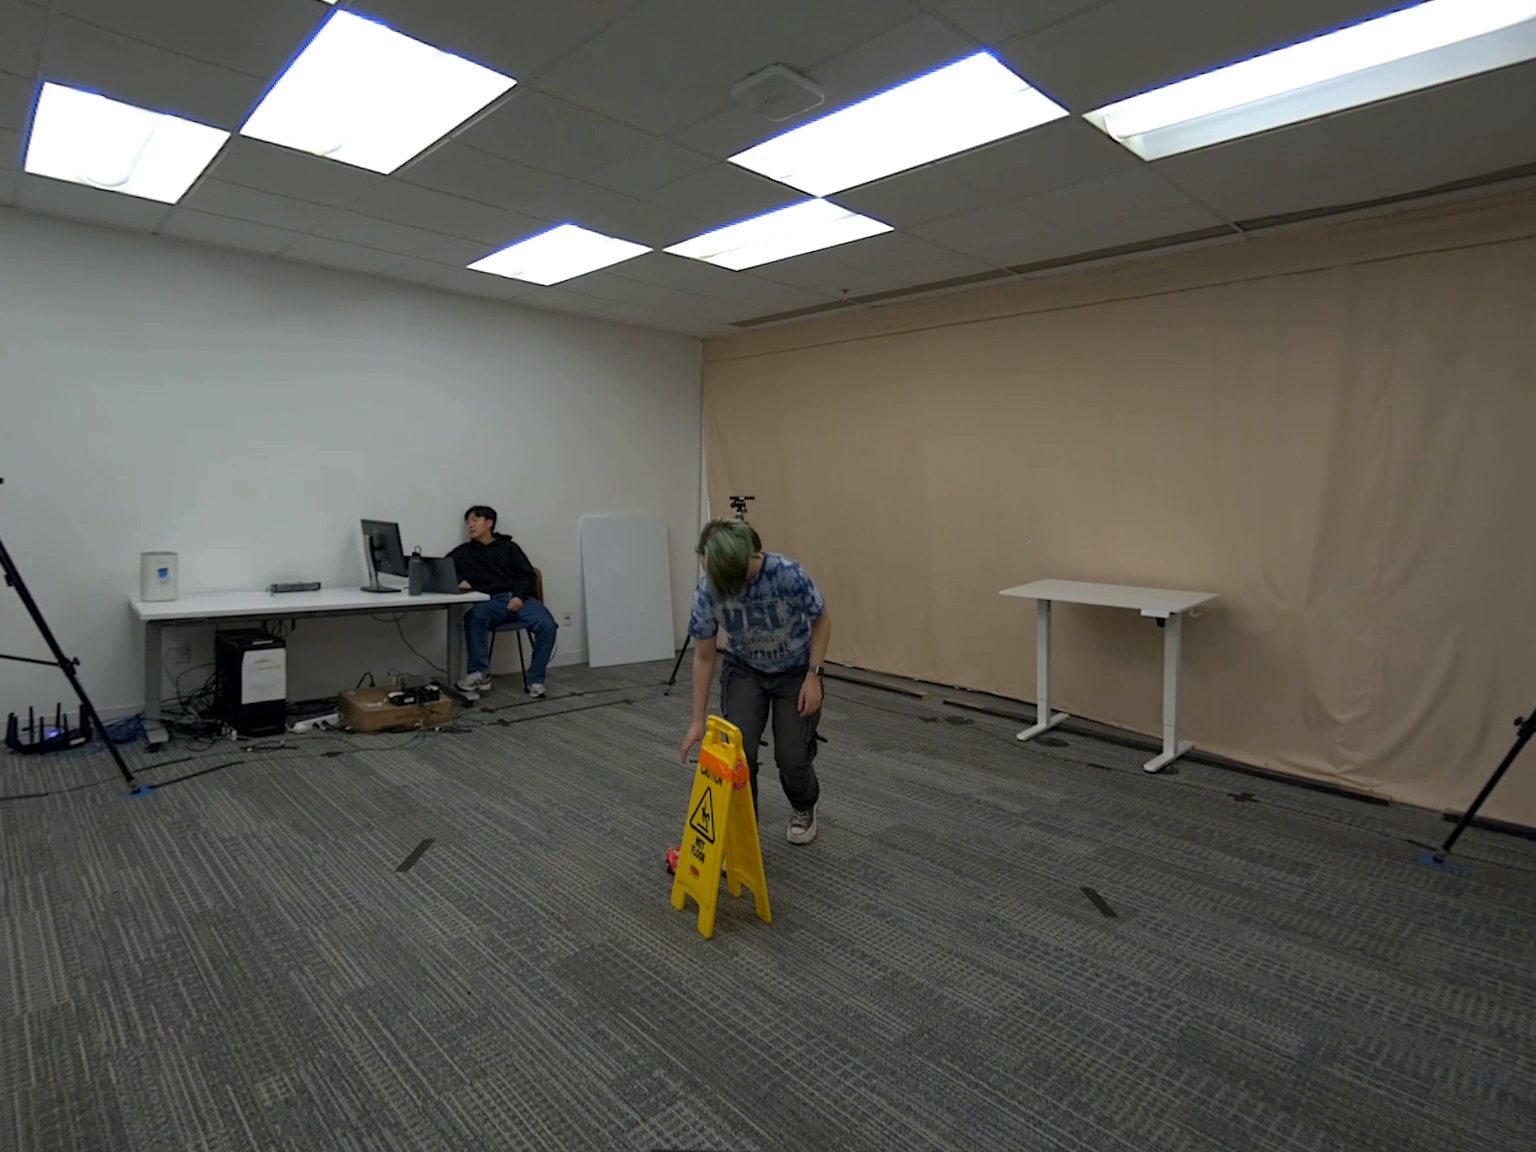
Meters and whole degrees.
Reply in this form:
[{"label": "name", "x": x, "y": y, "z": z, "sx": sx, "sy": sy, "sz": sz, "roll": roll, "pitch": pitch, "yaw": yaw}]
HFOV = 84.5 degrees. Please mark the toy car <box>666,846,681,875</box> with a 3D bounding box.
[{"label": "toy car", "x": -0.309, "y": 1.079, "z": 3.087, "sx": 0.128, "sy": 0.082, "sz": 0.261, "roll": 0, "pitch": 18, "yaw": -23}]
